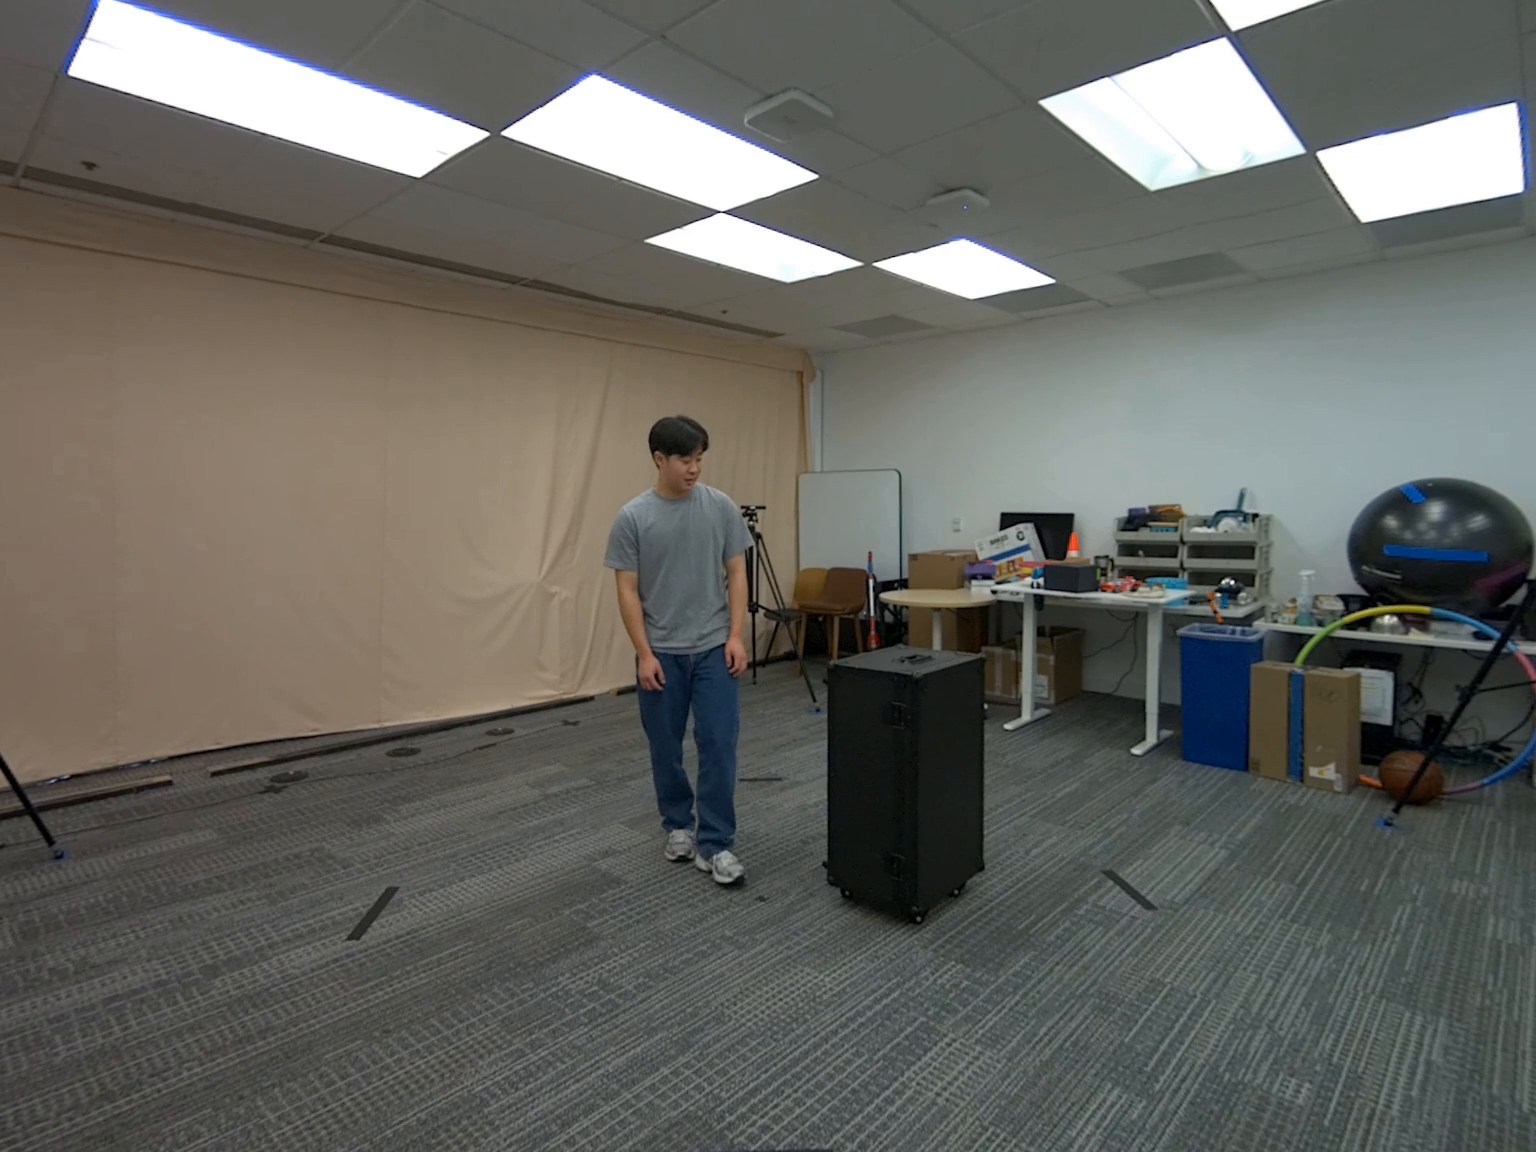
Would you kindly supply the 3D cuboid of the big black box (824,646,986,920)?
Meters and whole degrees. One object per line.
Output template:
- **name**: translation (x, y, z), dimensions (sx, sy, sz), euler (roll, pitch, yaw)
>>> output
- **big black box**: translation (0.490, 0.715, 2.980), dimensions (0.409, 0.860, 0.505), euler (1, 3, 41)
